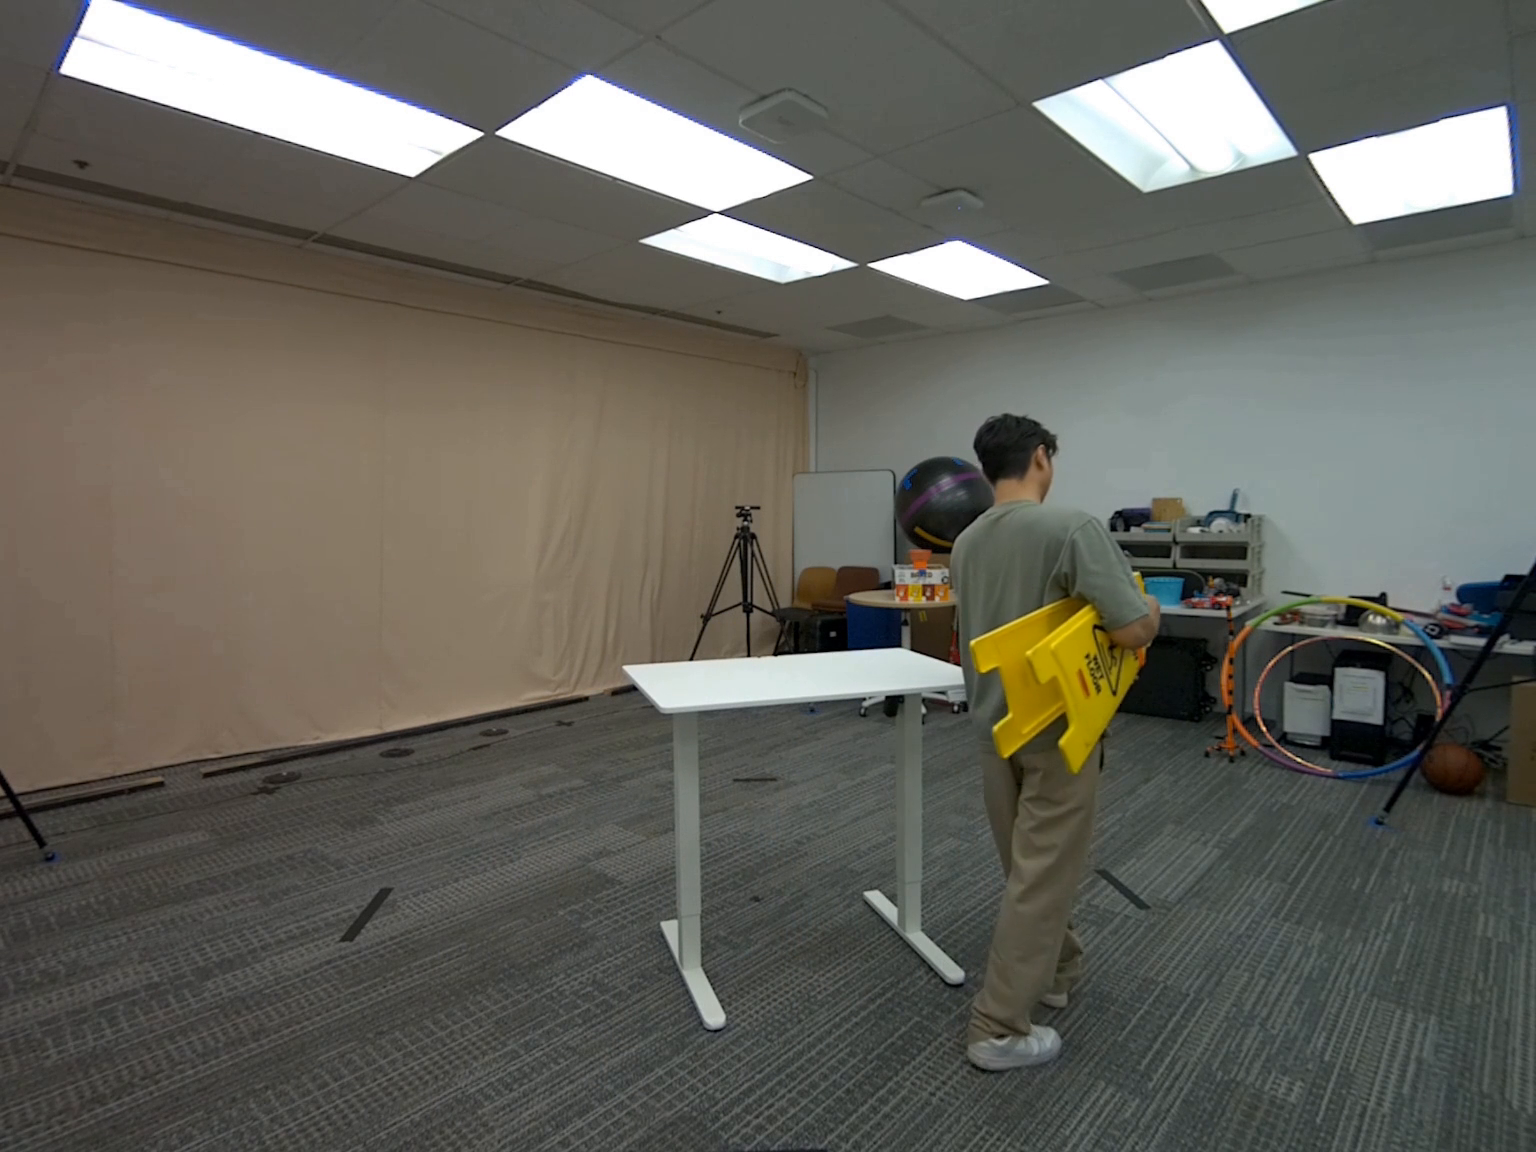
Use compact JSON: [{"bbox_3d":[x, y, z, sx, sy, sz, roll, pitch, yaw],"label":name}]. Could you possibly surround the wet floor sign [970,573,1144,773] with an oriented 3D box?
[{"bbox_3d":[0.765,0.193,2.019,0.632,0.280,0.298,-22,11,-37],"label":"wet floor sign"}]
